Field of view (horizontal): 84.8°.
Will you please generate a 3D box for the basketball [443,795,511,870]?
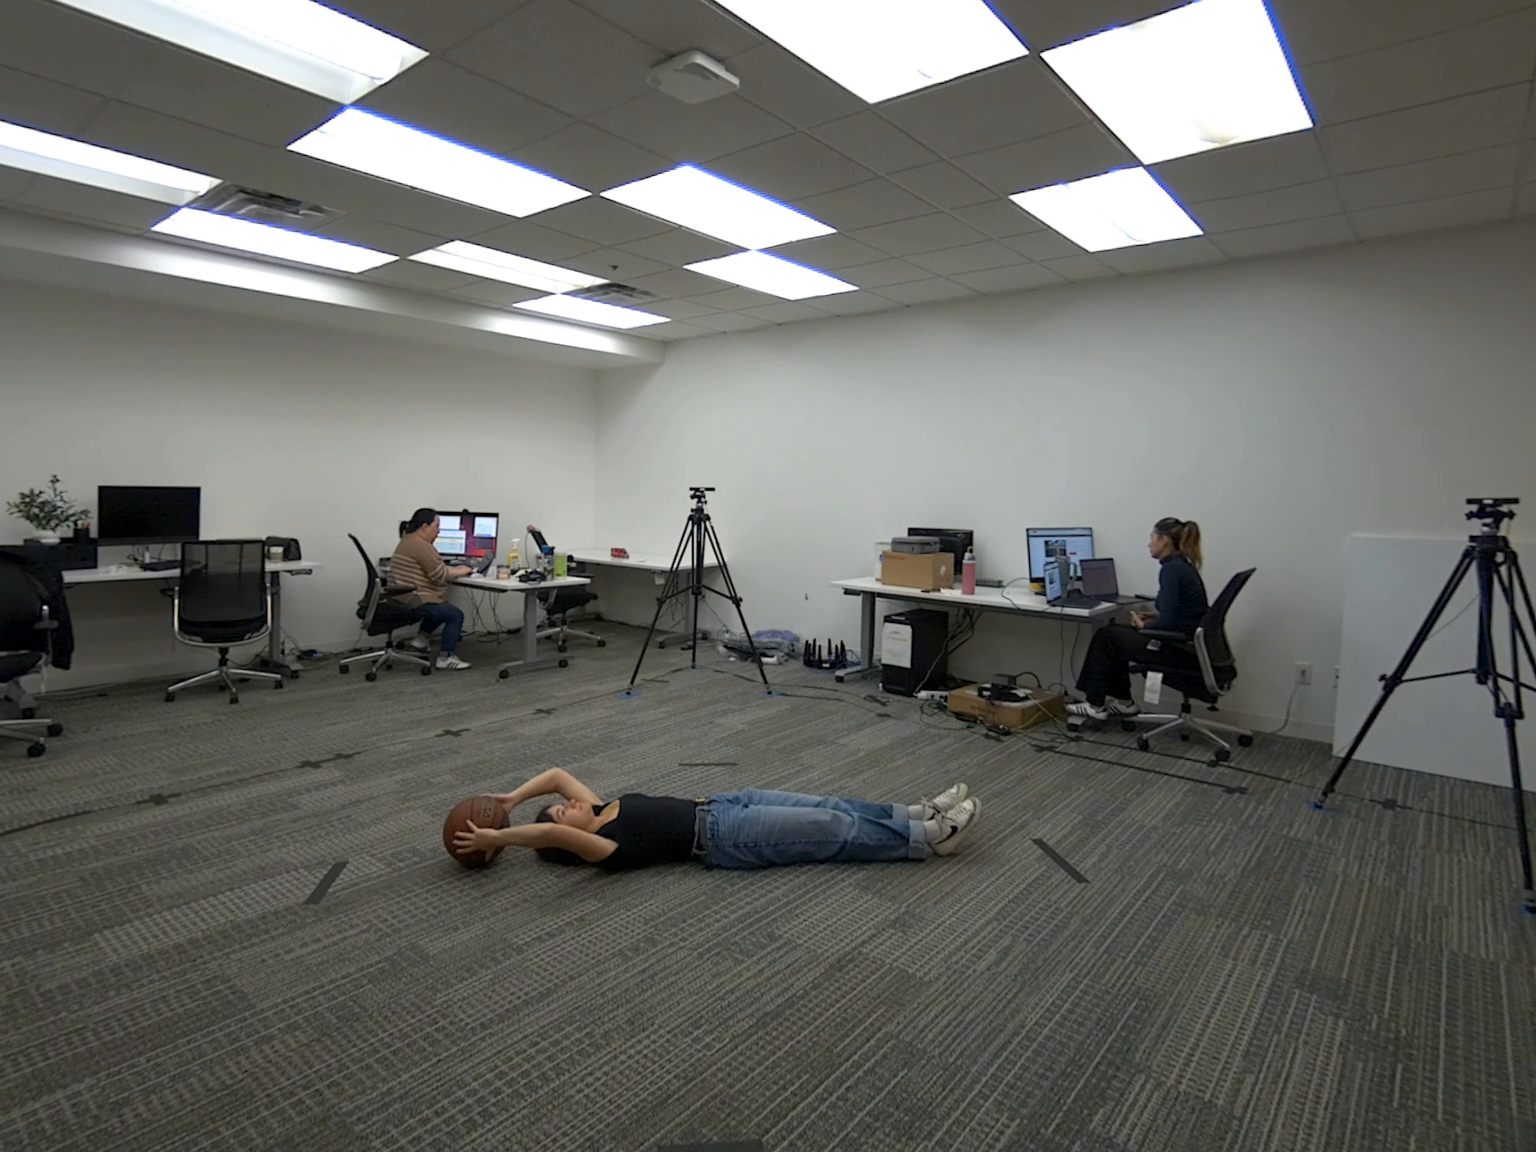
[{"bbox_3d":[-1.079,0.926,3.116,0.235,0.235,0.237,1,4,-2],"label":"basketball"}]
